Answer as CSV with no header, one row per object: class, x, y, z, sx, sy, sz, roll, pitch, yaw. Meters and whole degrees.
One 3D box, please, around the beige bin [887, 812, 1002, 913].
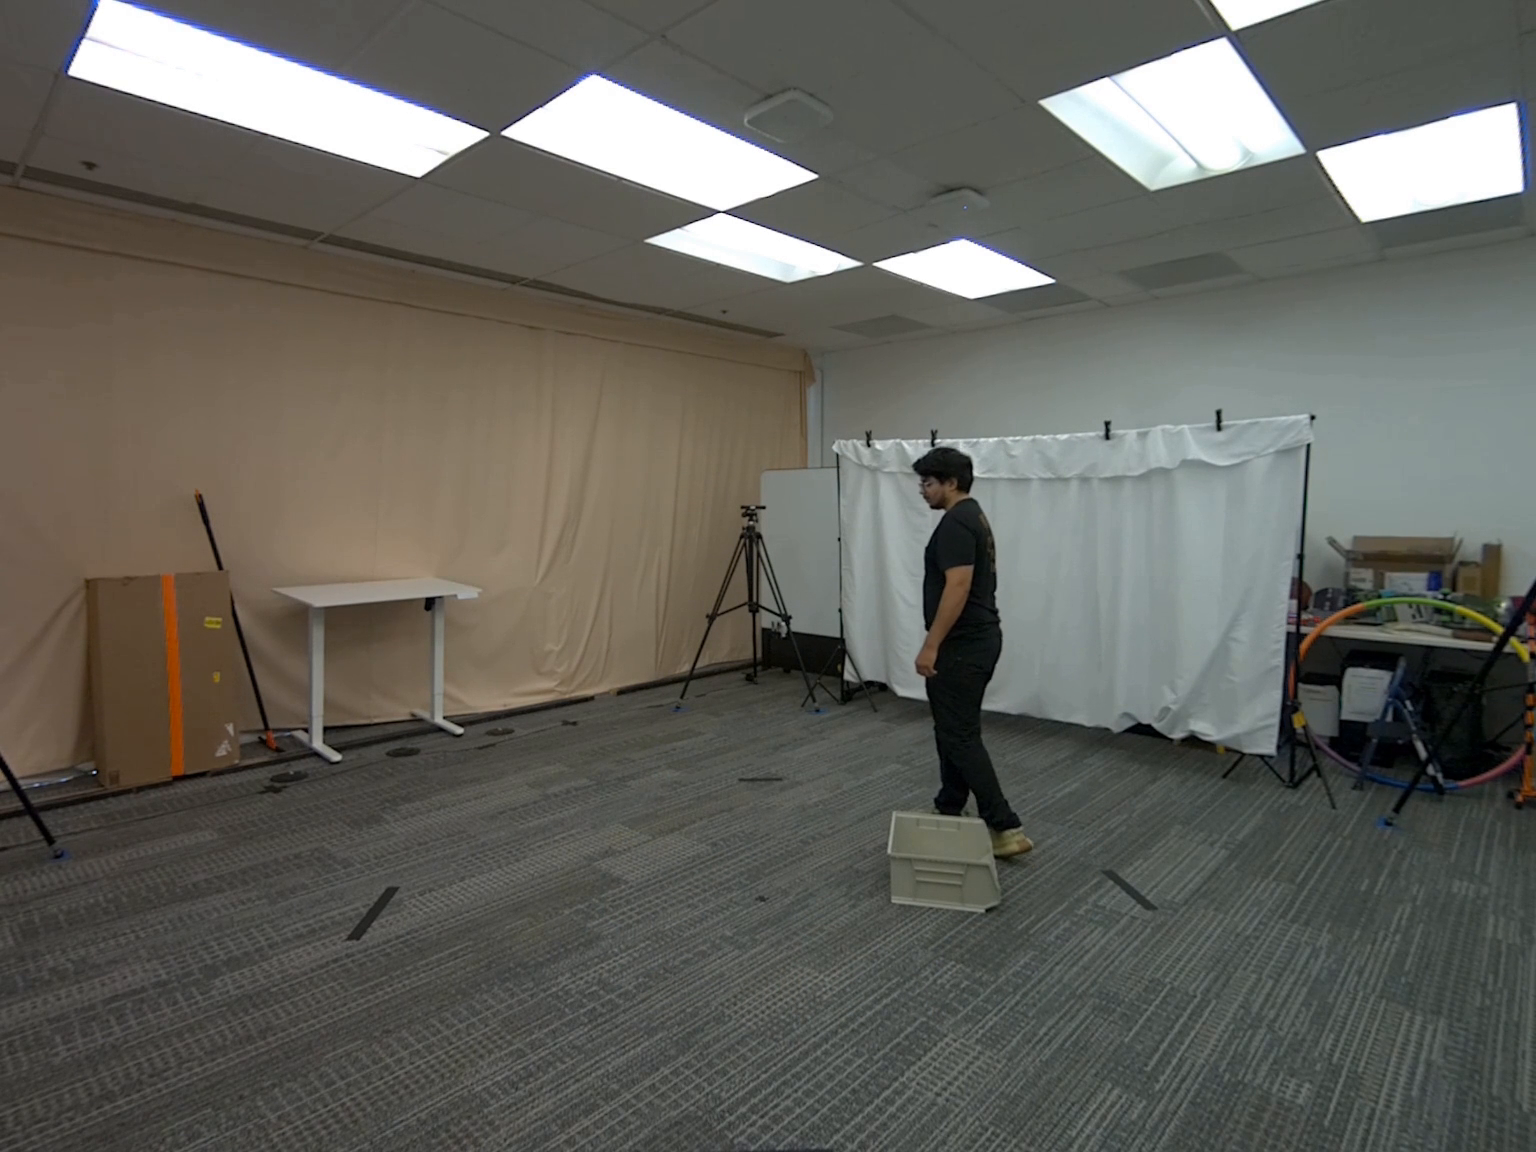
beige bin,0.651,1.045,3.095,0.383,0.188,0.417,0,5,13
